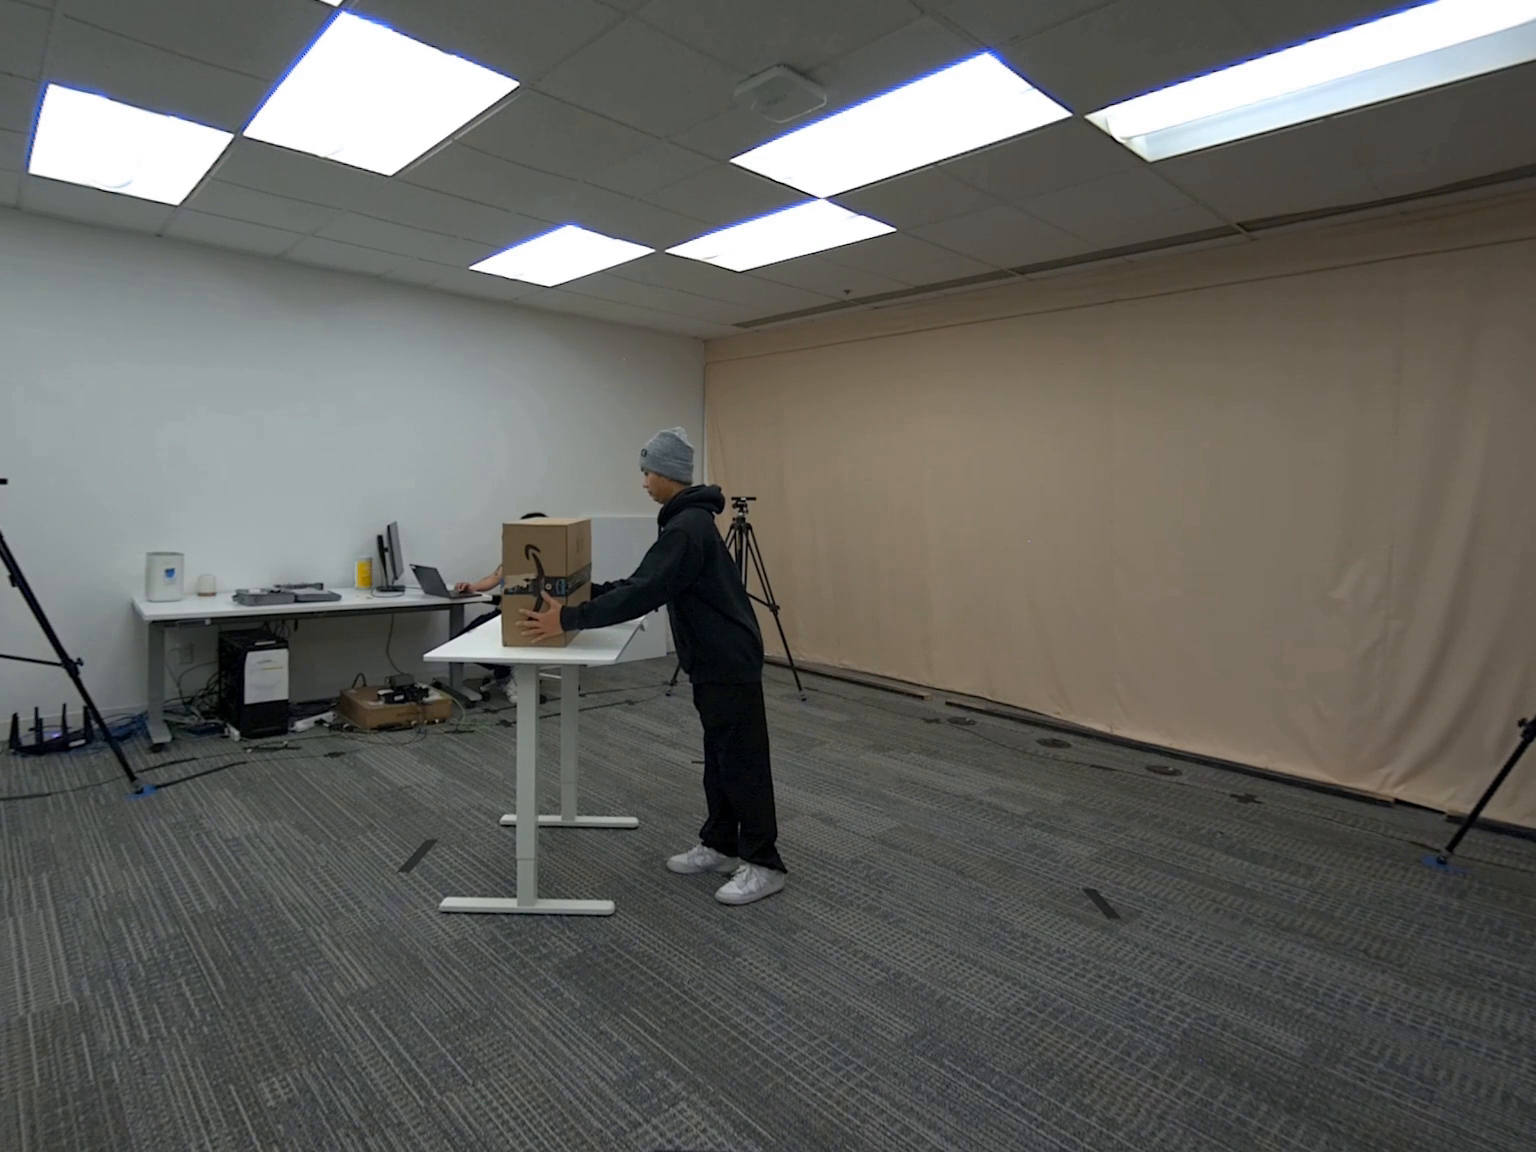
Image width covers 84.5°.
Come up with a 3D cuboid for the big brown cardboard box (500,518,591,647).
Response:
[{"bbox_3d":[-0.798,0.005,3.080,0.232,0.416,0.592,1,4,-4],"label":"big brown cardboard box"}]
